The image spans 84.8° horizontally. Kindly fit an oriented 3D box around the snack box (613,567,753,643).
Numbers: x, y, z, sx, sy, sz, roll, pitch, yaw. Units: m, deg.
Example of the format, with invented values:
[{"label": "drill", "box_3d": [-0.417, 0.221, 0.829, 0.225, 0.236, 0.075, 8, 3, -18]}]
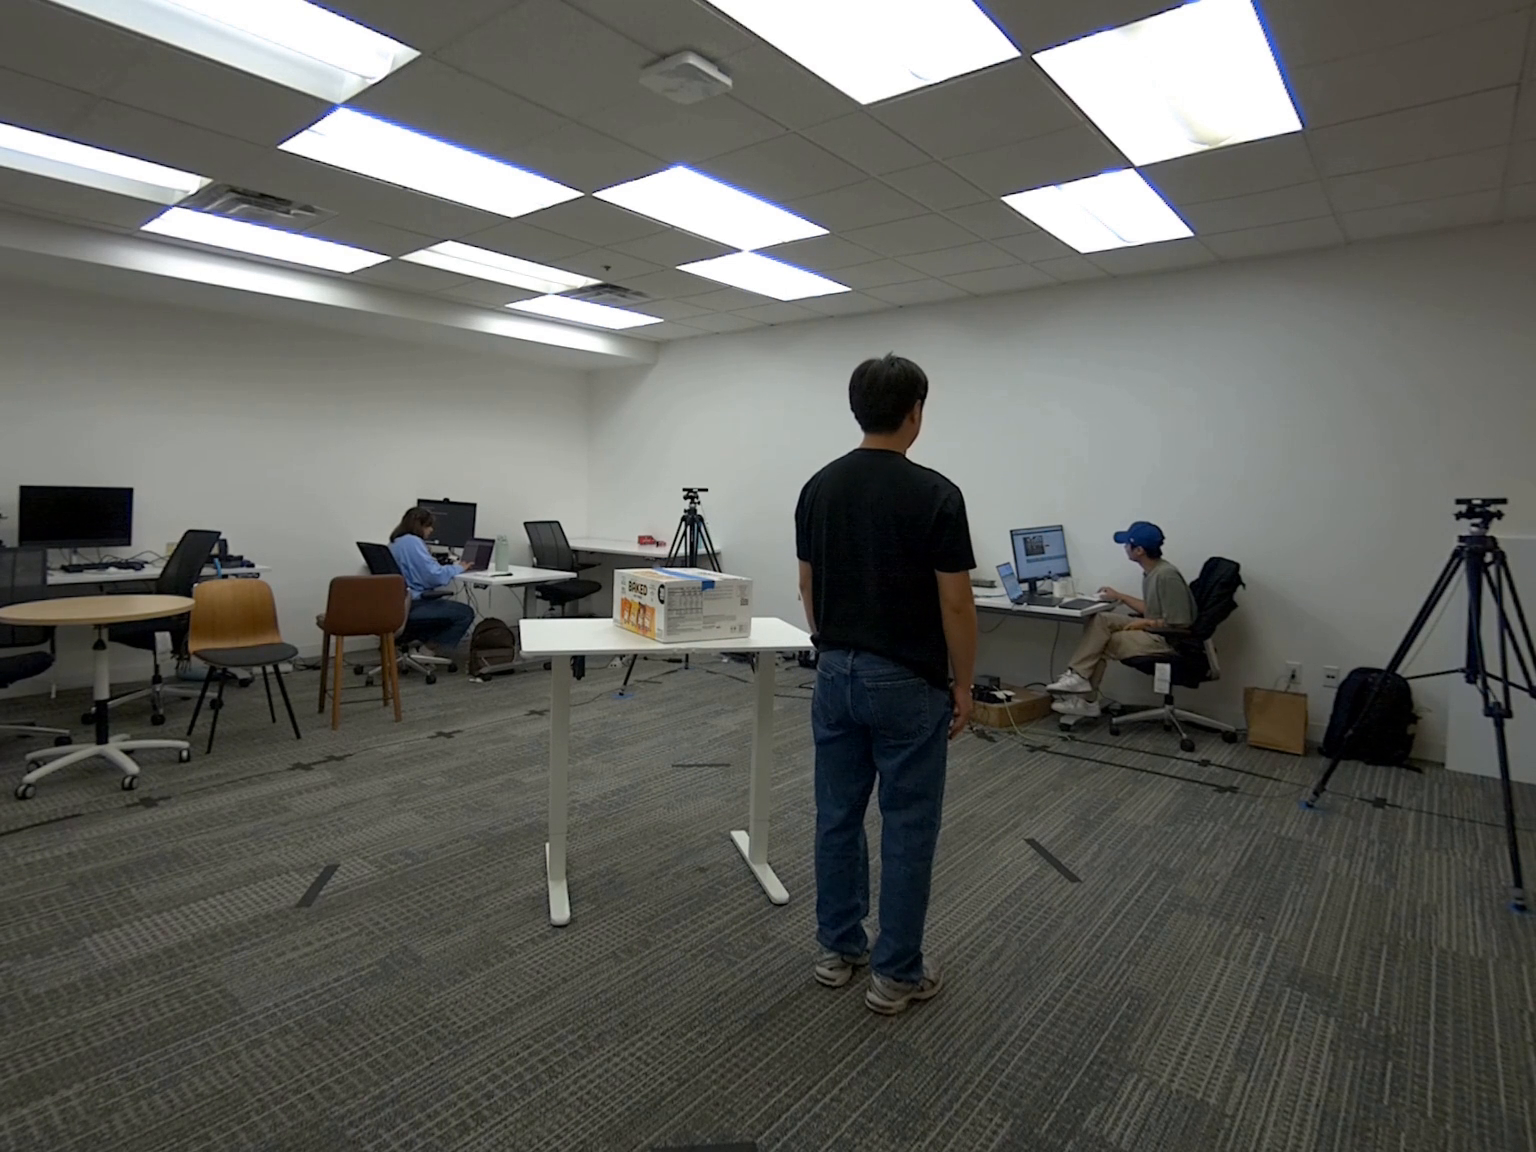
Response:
[{"label": "snack box", "box_3d": [-0.319, 0.092, 3.012, 0.331, 0.205, 0.418, -2, 6, -33]}]
